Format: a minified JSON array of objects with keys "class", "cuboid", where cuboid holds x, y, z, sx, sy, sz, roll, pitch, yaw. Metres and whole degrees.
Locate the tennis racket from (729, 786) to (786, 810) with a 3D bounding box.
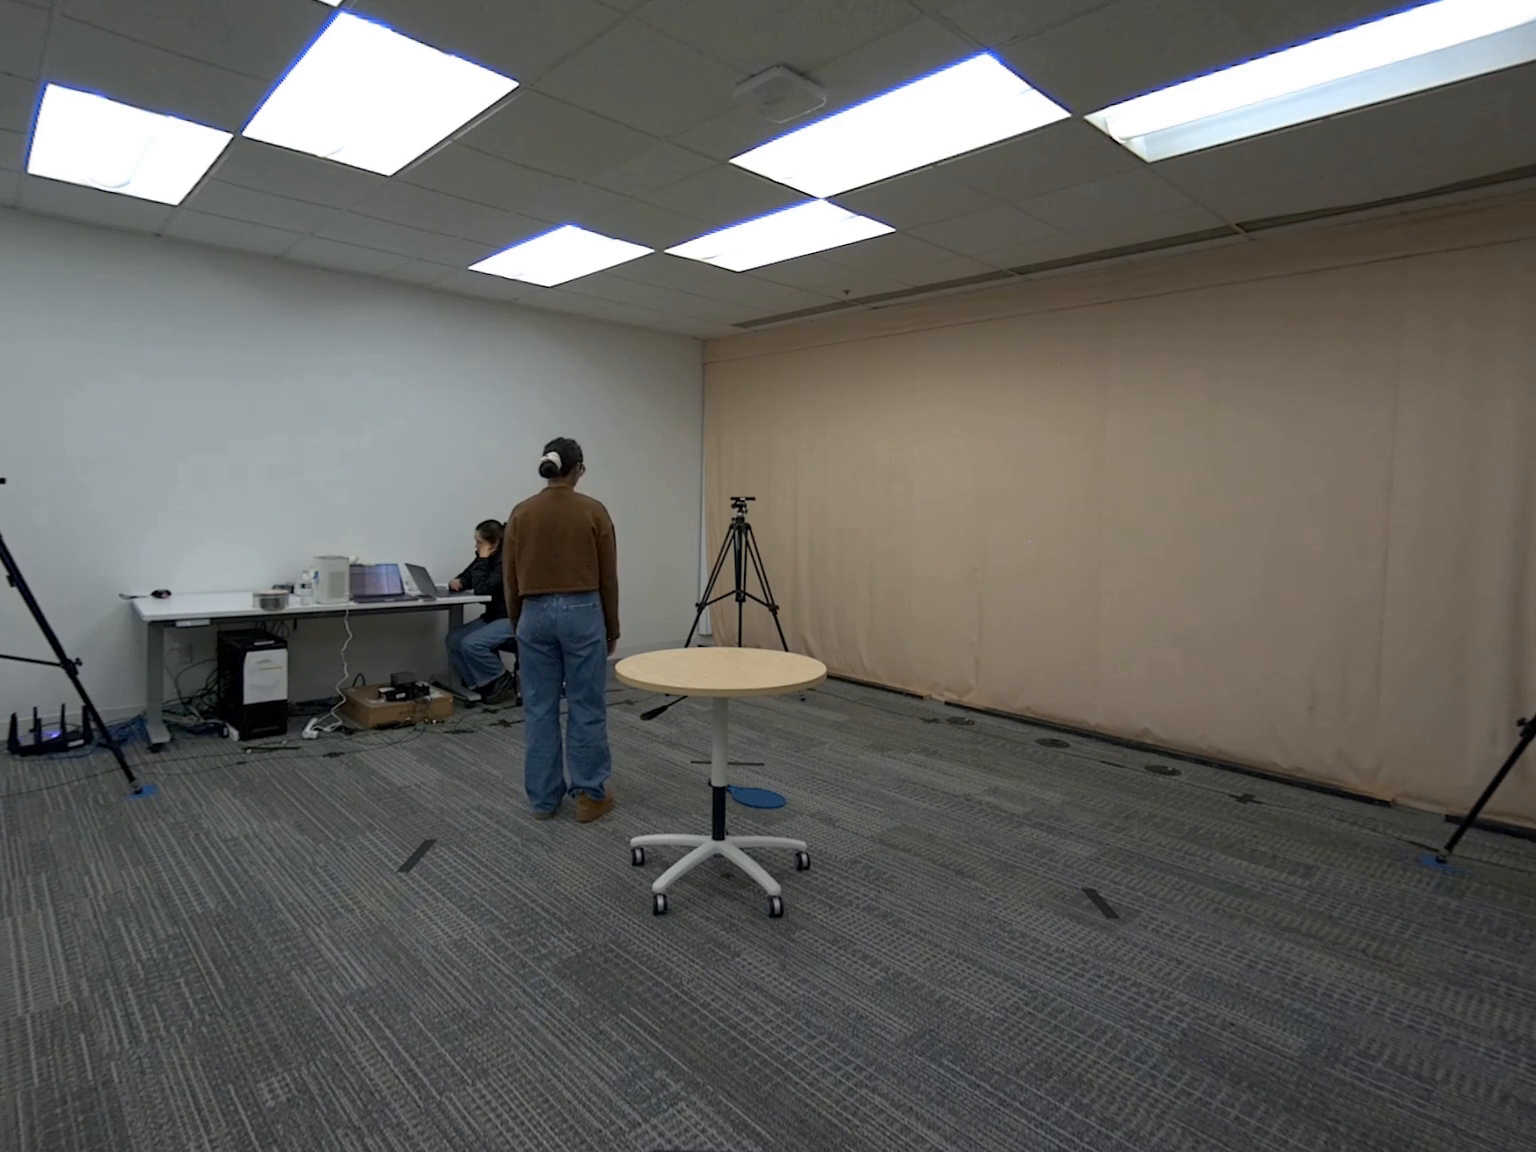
[{"class":"tennis racket","cuboid":[-0.117,1.019,3.964,0.444,0.031,0.209,7,7,39]}]
